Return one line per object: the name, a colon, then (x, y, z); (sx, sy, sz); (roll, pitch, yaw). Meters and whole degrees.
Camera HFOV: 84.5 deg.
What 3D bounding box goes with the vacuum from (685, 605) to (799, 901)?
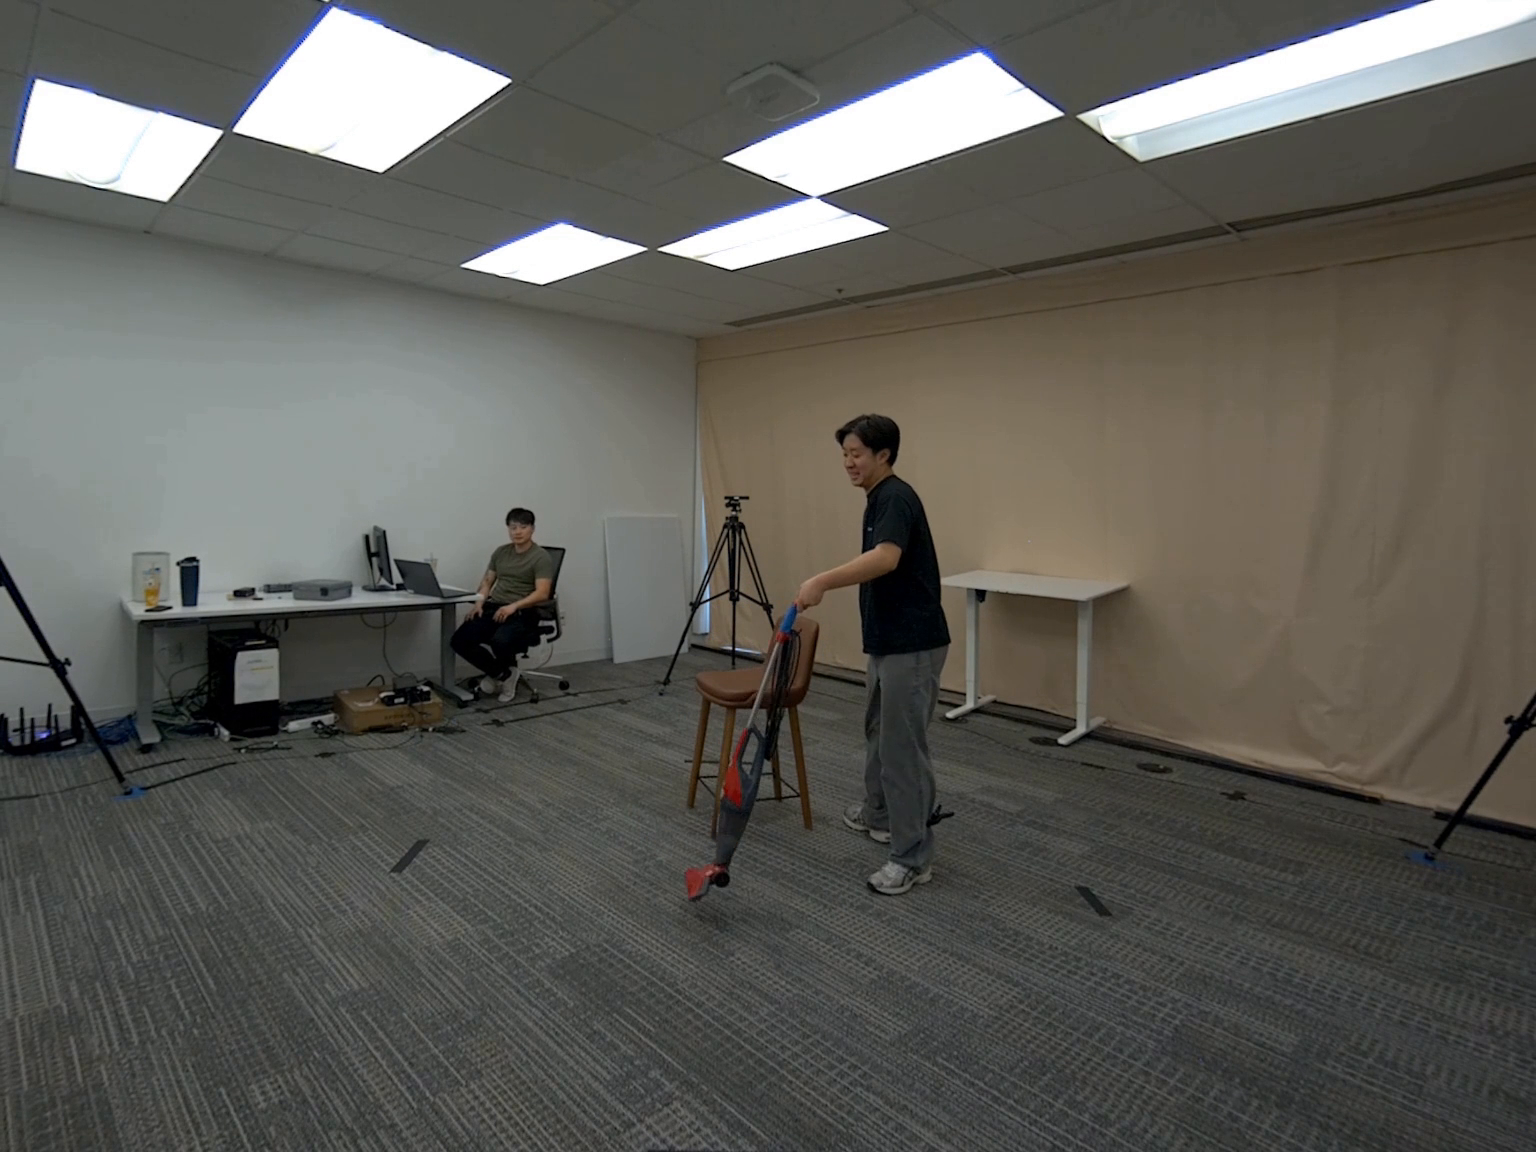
vacuum: (-0.035, 0.527, 2.847); (0.142, 1.052, 0.255); (21, -7, -14)
